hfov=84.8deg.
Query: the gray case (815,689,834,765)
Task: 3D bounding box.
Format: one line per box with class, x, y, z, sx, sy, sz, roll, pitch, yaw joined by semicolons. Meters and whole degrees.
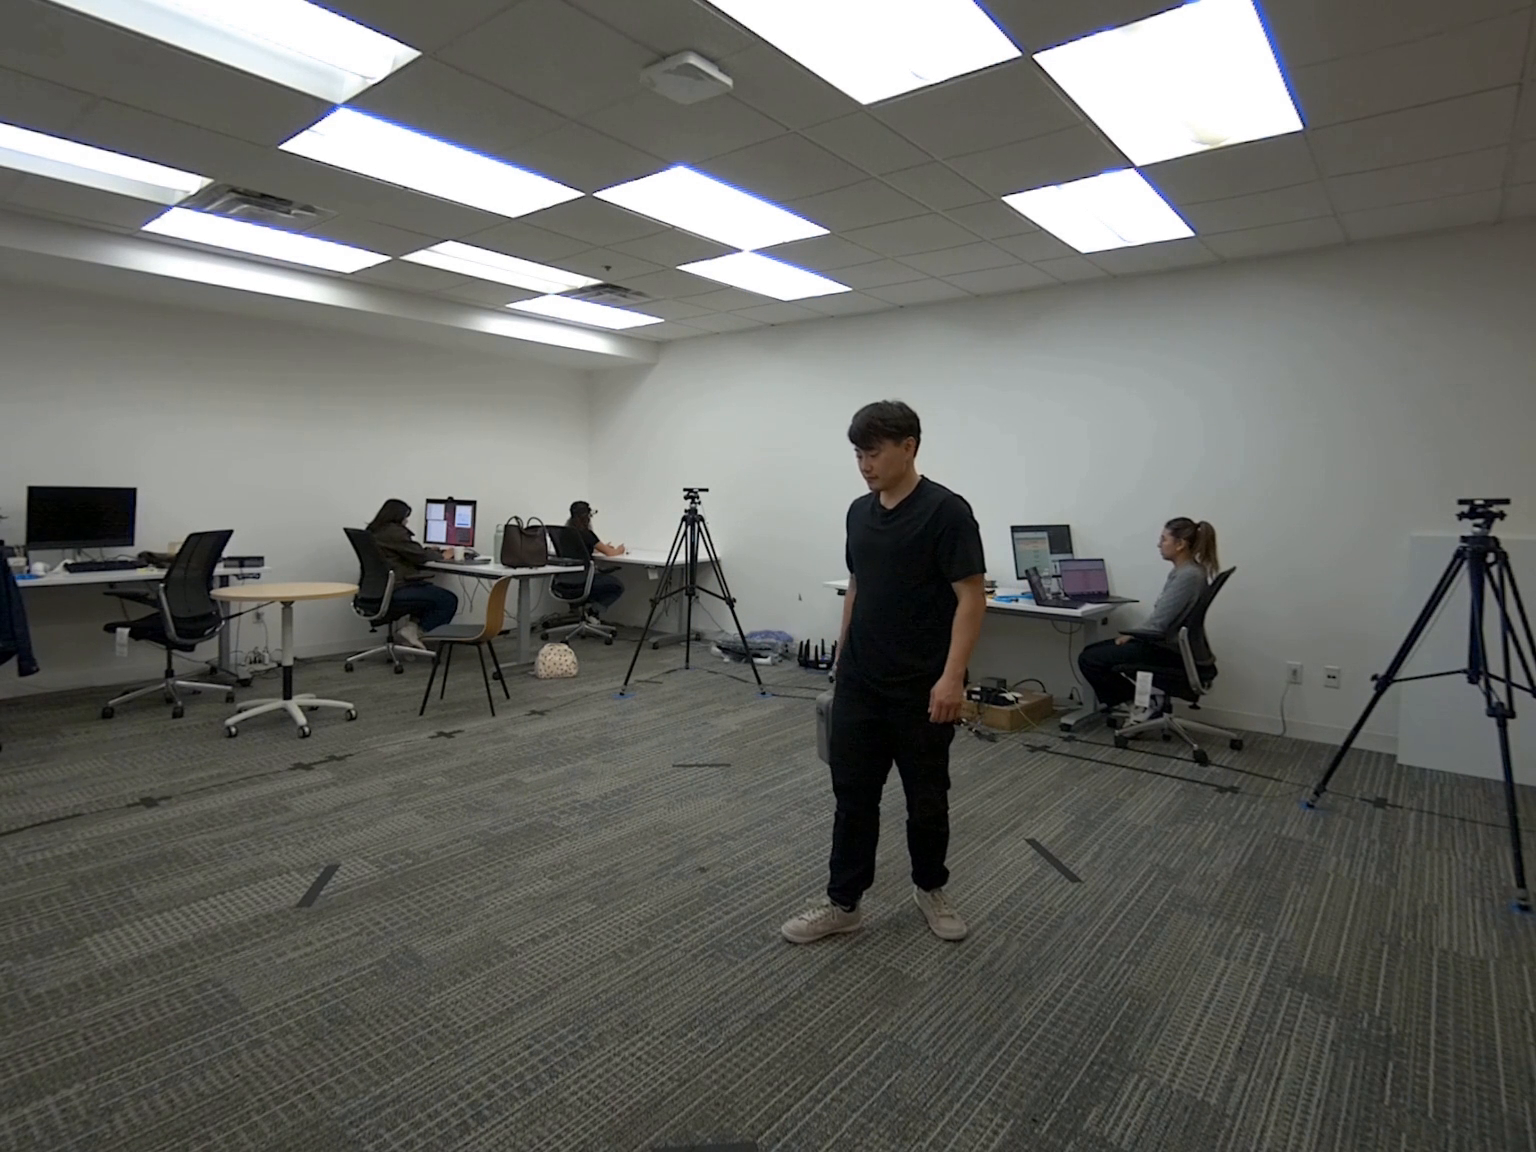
gray case;0.269;0.493;2.936;0.251;0.258;0.108;-12;14;-32
